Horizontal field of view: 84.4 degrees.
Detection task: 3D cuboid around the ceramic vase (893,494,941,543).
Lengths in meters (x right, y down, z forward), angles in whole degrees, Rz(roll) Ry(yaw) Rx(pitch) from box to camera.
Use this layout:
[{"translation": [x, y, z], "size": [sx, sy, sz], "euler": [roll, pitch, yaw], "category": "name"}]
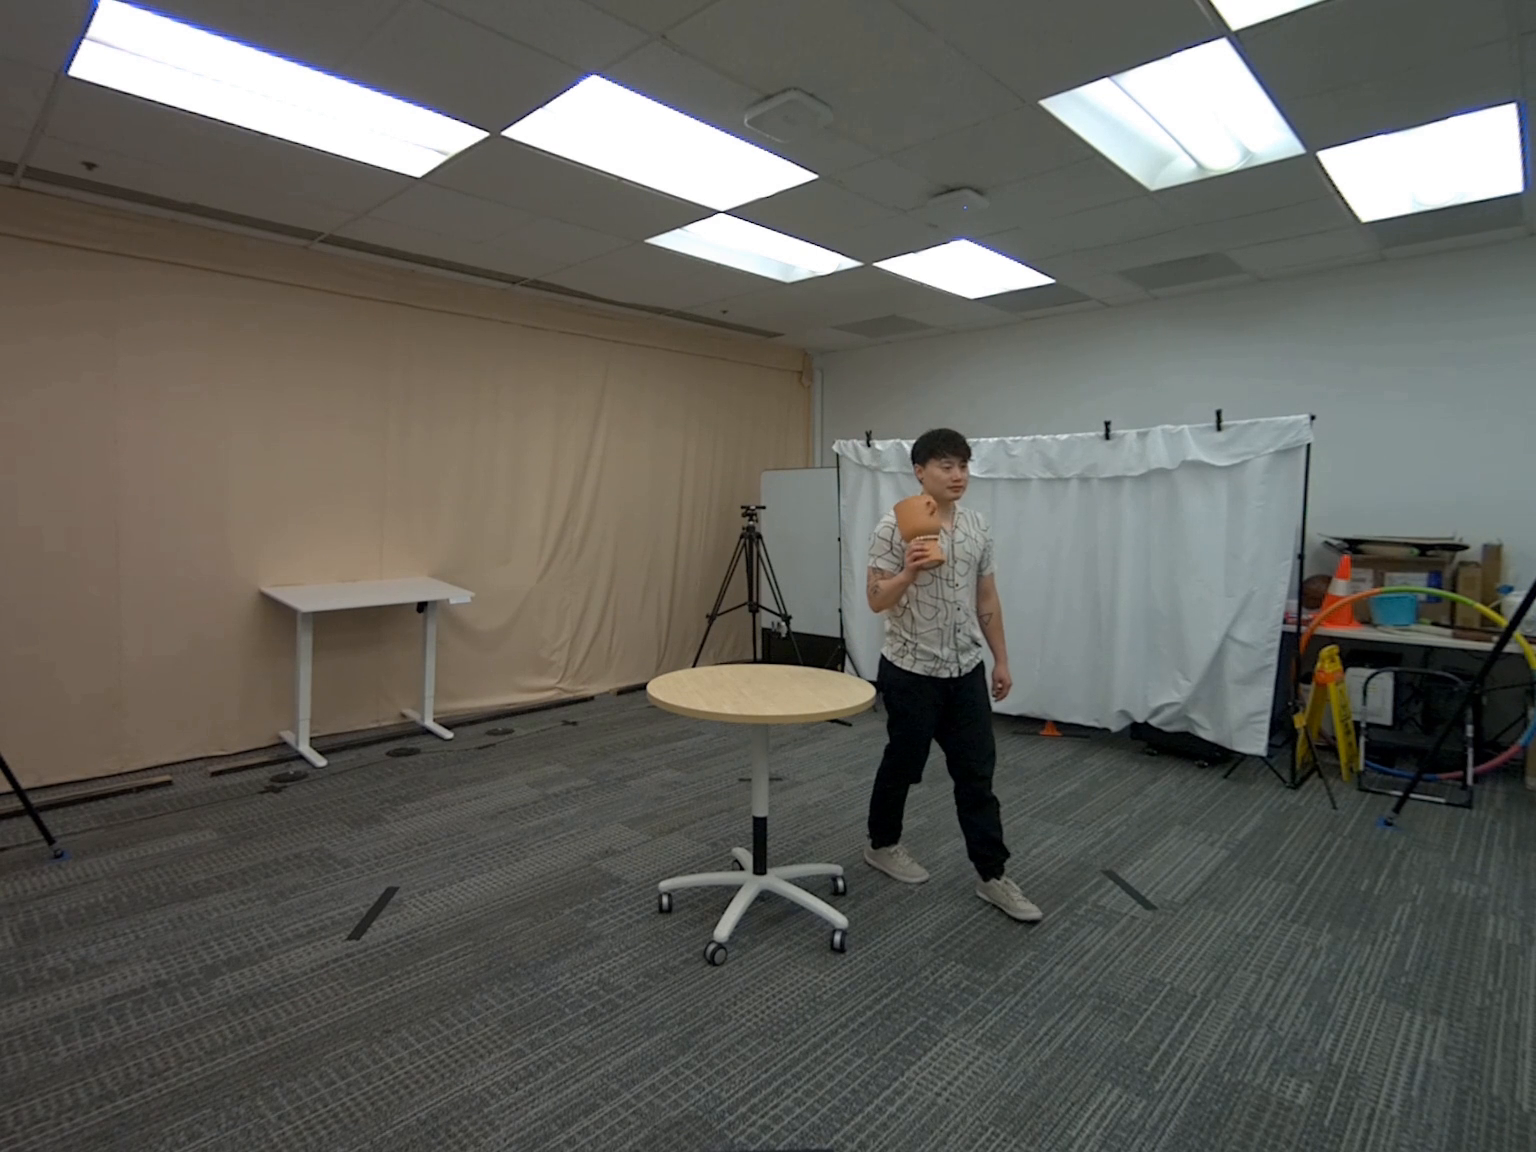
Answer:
[{"translation": [0.501, -0.137, 2.718], "size": [0.136, 0.223, 0.154], "euler": [-16, -21, 12], "category": "ceramic vase"}]
